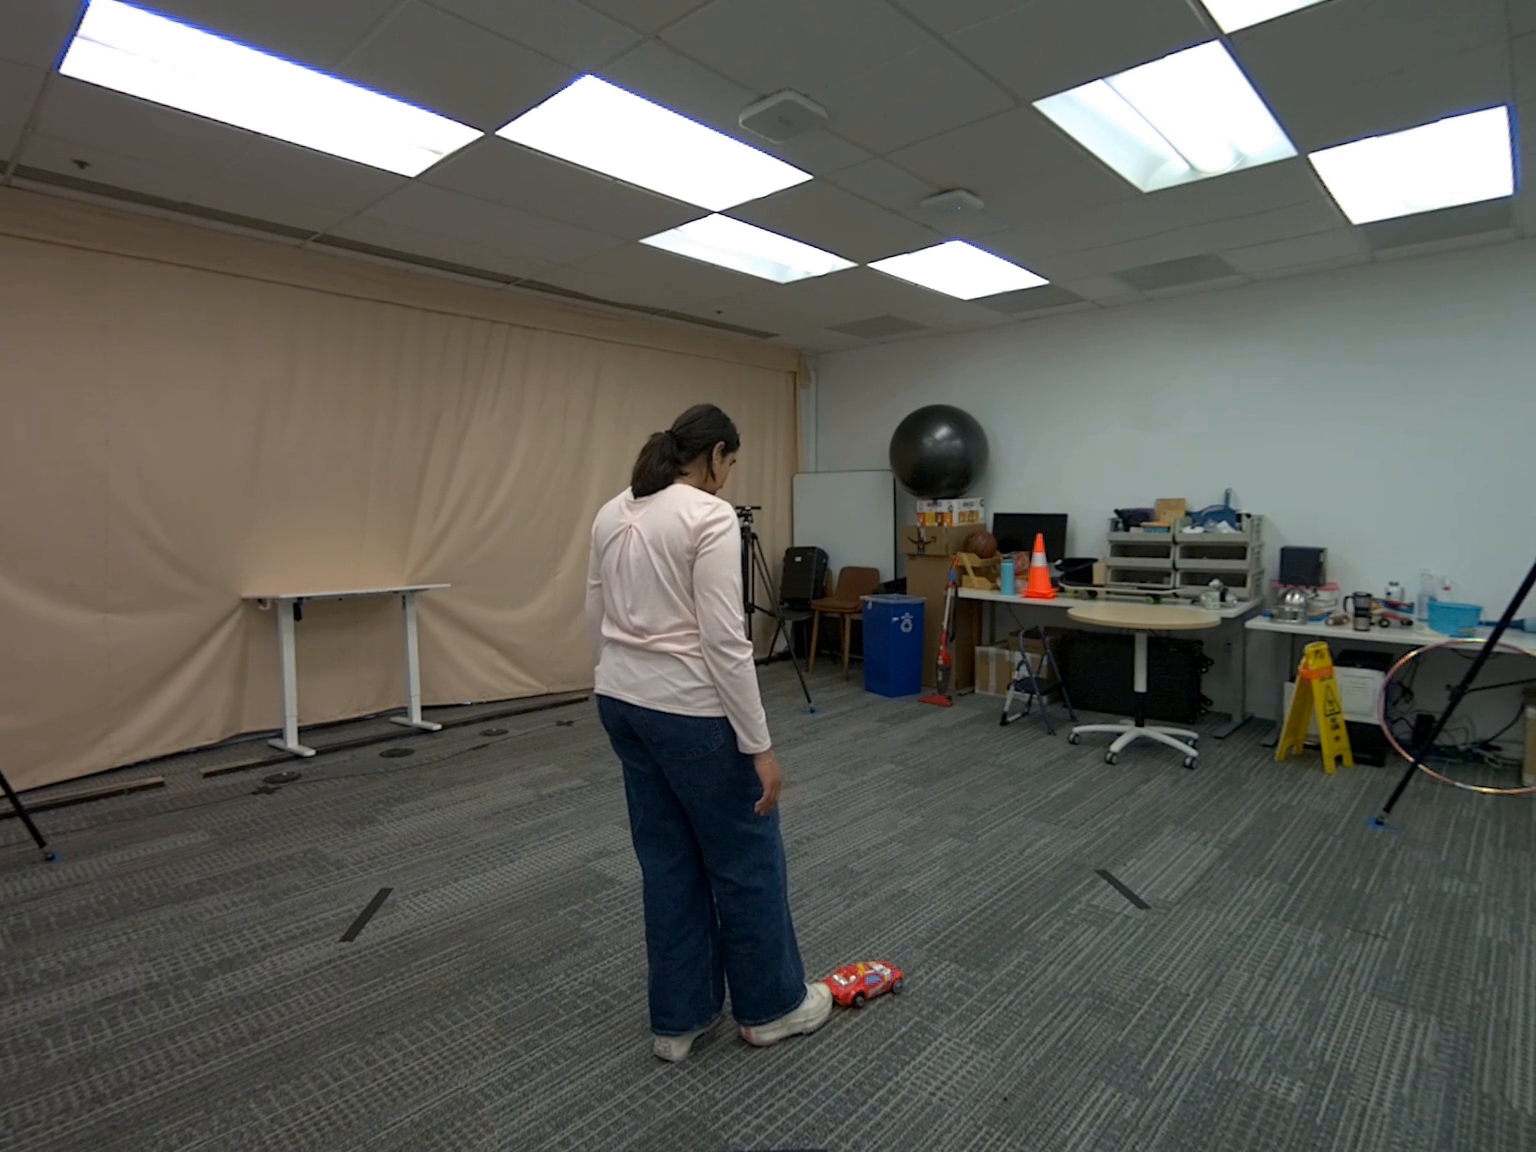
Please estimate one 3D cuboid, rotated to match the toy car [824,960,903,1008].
[{"bbox_3d":[0.271,1.161,2.400,0.247,0.083,0.134,11,-2,-31],"label":"toy car"}]
